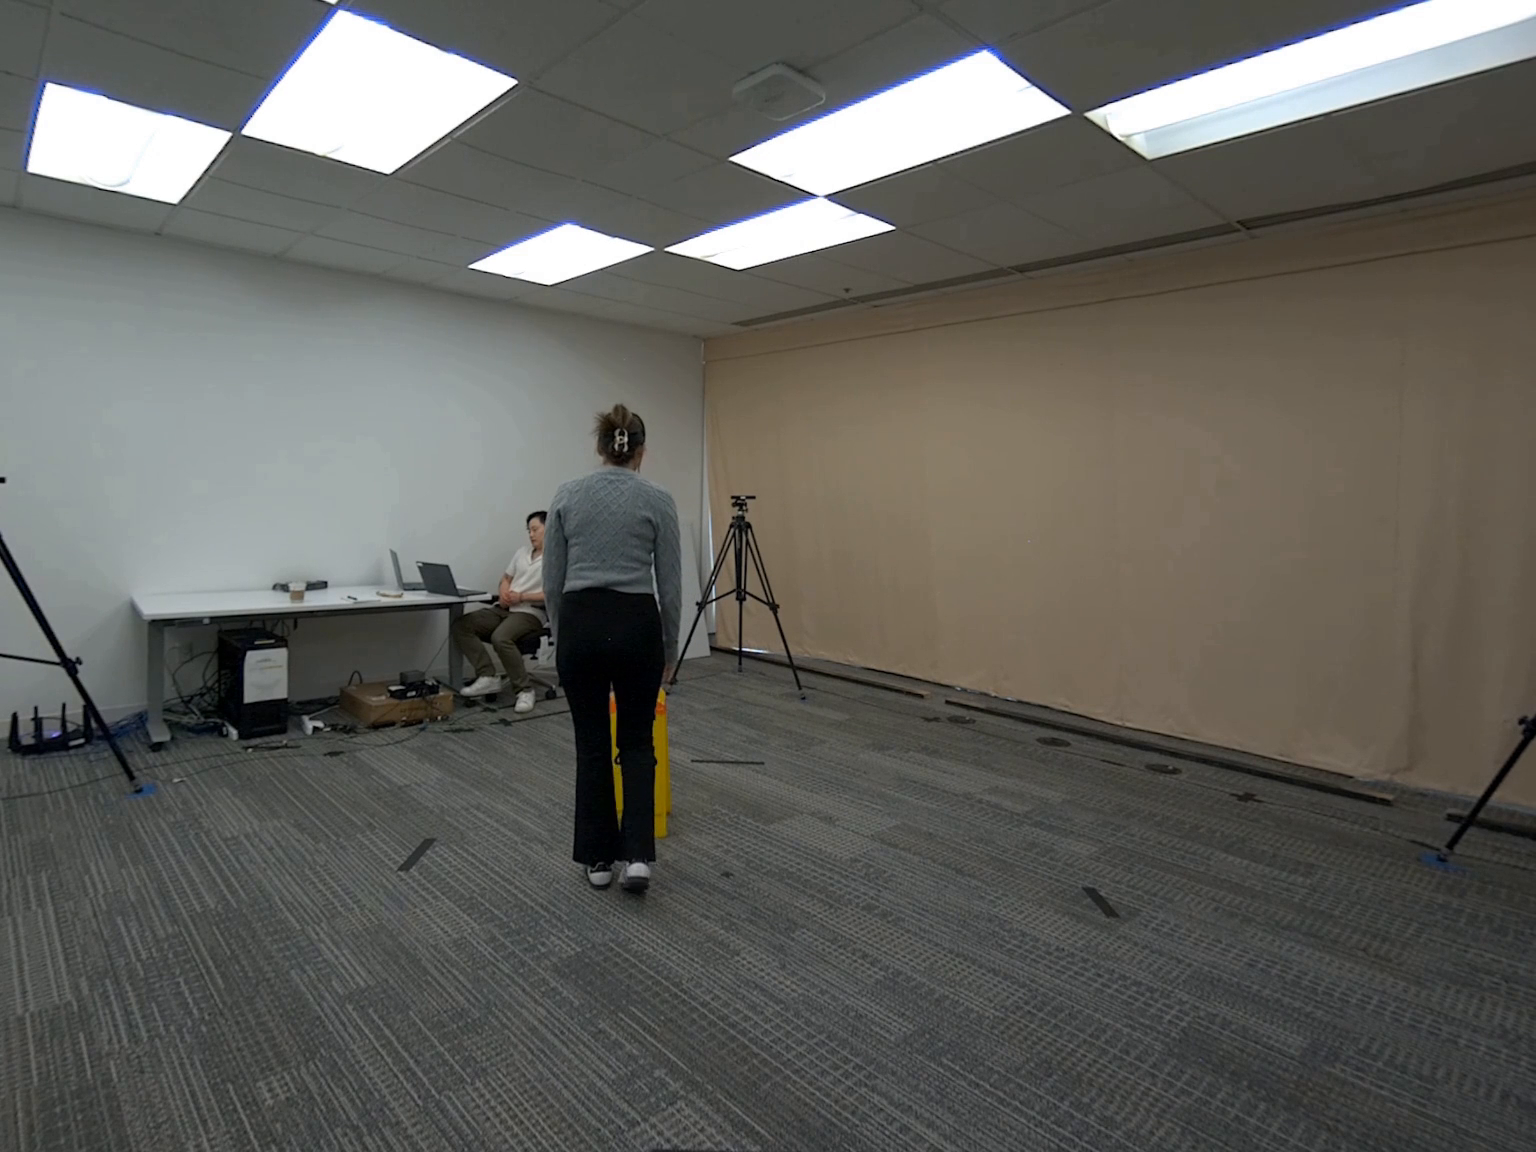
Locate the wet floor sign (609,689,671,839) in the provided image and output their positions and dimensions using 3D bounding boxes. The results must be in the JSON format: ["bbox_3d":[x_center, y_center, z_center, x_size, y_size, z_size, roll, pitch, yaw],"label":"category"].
[{"bbox_3d":[-0.549,0.728,3.560,0.282,0.645,0.290,3,2,-1],"label":"wet floor sign"}]
